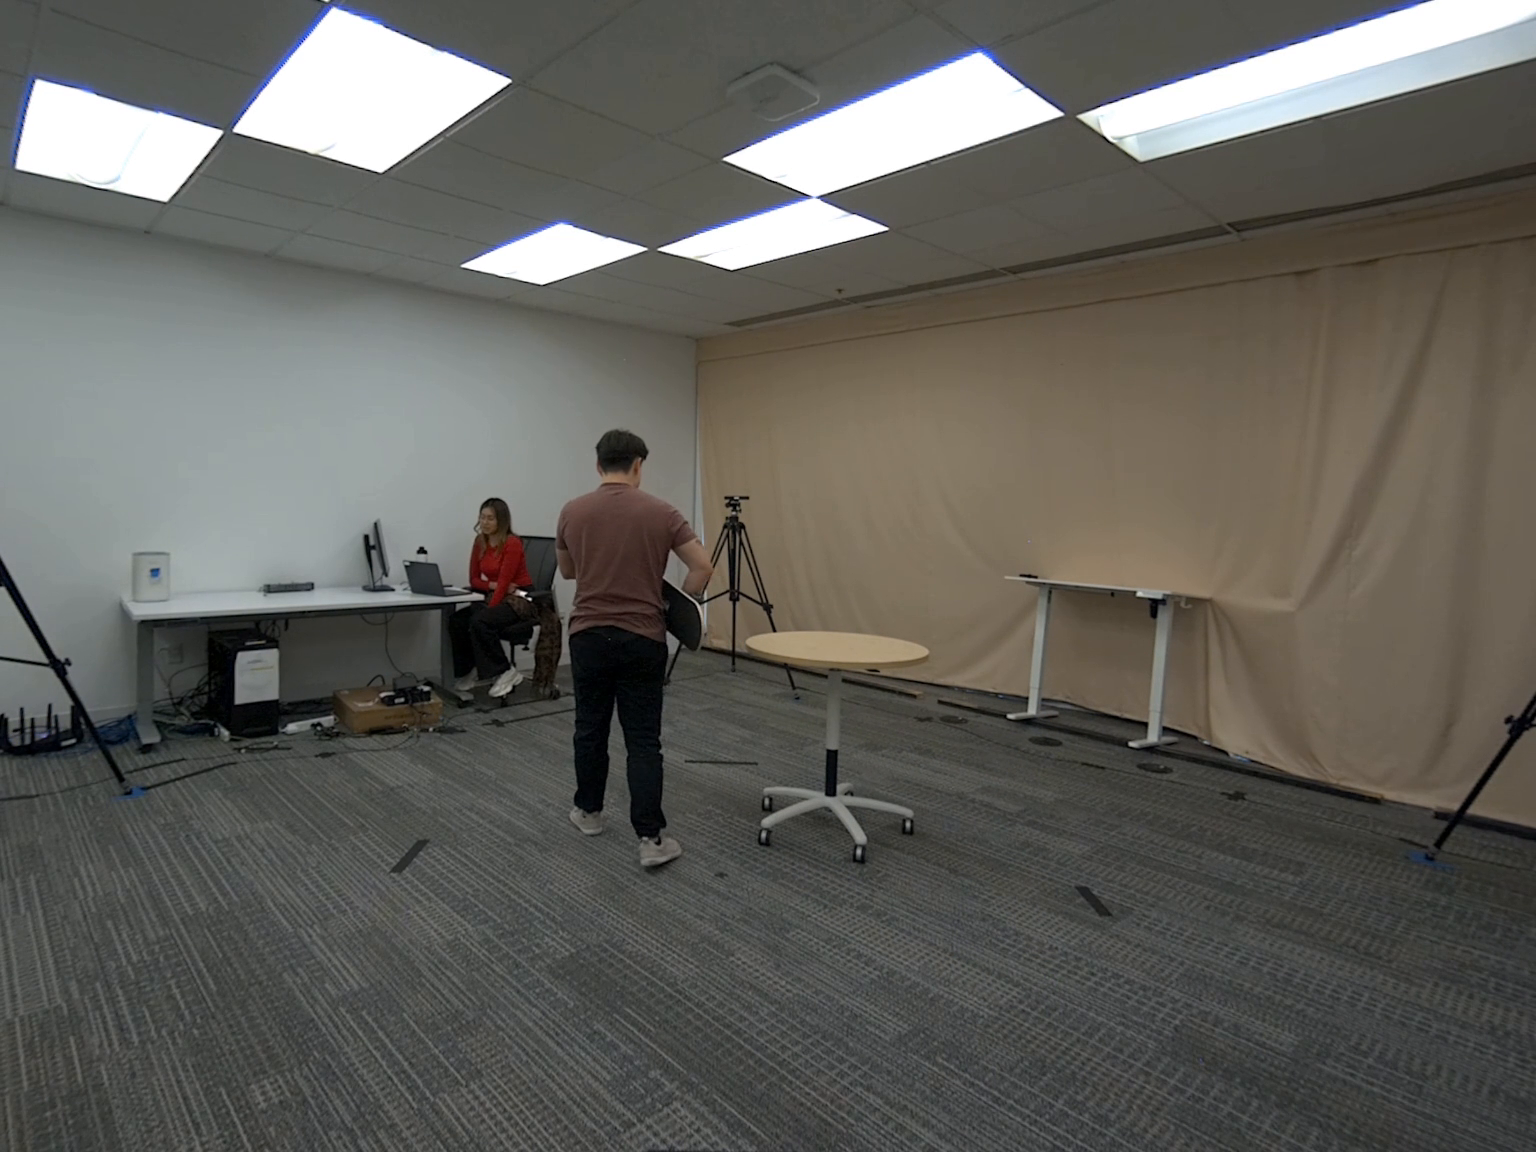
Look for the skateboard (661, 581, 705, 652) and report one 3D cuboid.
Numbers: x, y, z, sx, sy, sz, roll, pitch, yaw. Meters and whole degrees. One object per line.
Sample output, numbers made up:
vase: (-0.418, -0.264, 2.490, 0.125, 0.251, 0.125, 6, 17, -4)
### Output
skateboard: (-0.433, 0.083, 3.454, 0.108, 0.191, 0.810, -1, 22, -34)
